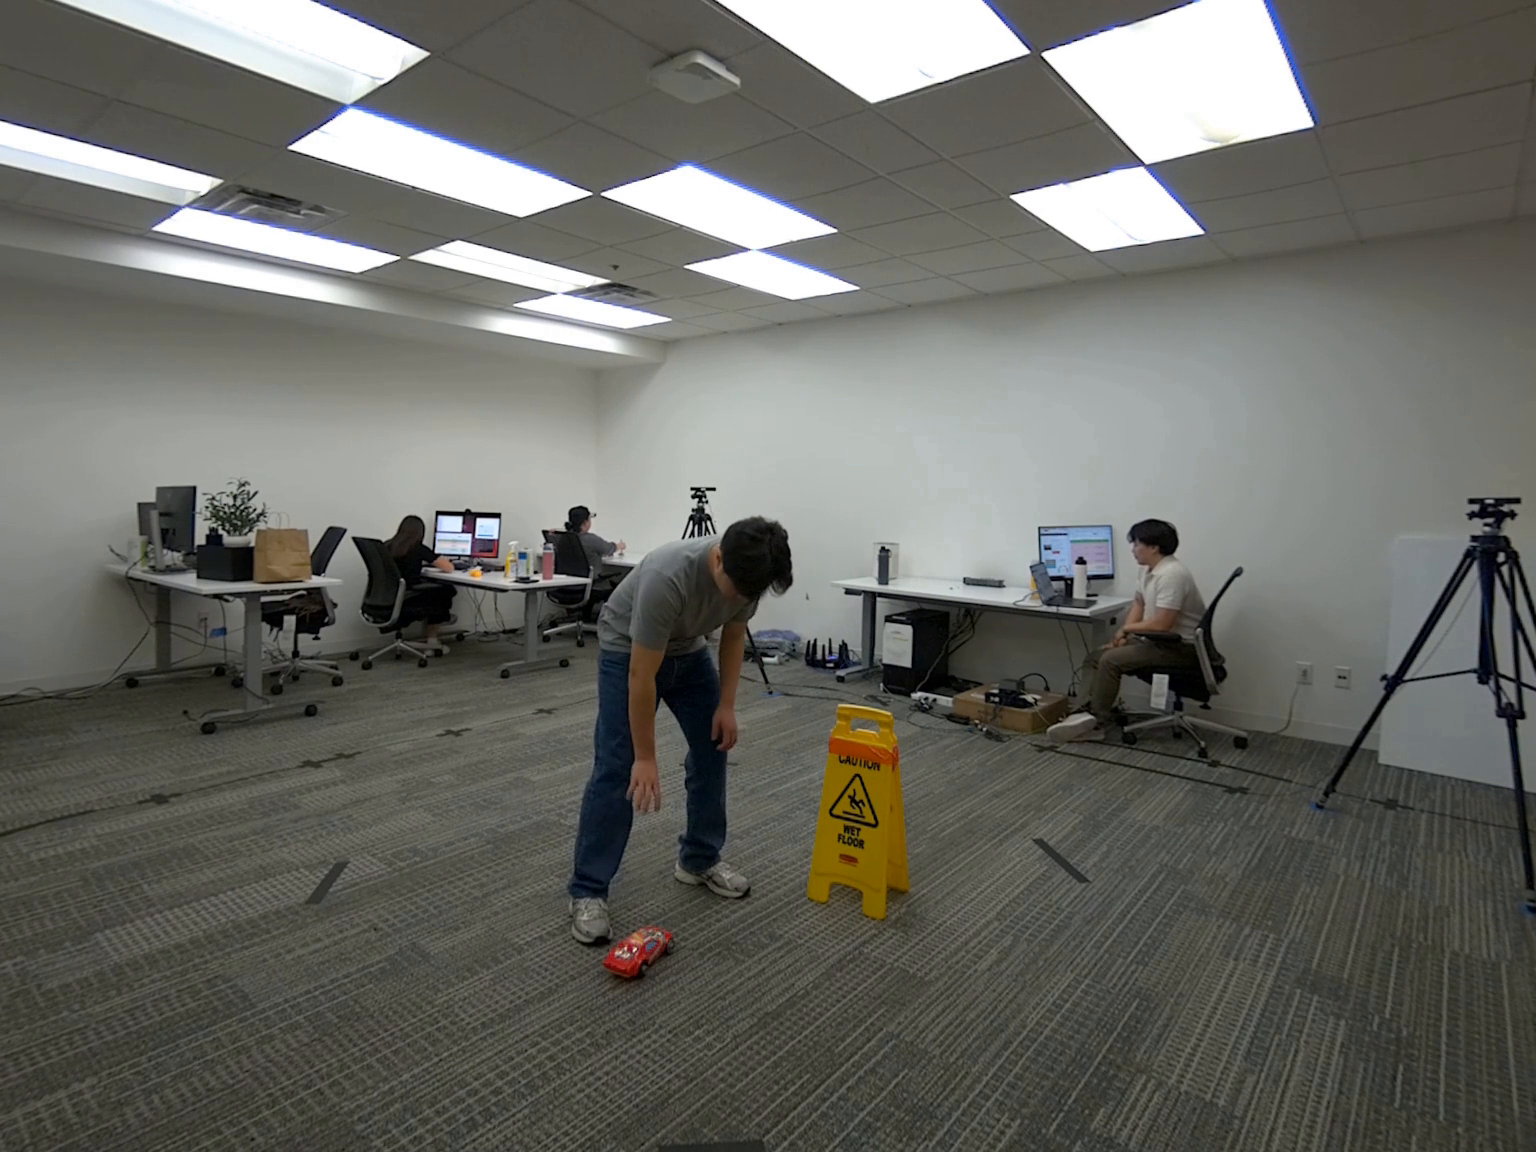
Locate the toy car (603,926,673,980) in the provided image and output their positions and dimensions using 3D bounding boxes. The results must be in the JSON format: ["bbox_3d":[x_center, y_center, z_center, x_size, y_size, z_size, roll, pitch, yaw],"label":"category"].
[{"bbox_3d":[-0.390,1.096,2.470,0.134,0.083,0.247,4,-4,26],"label":"toy car"}]
